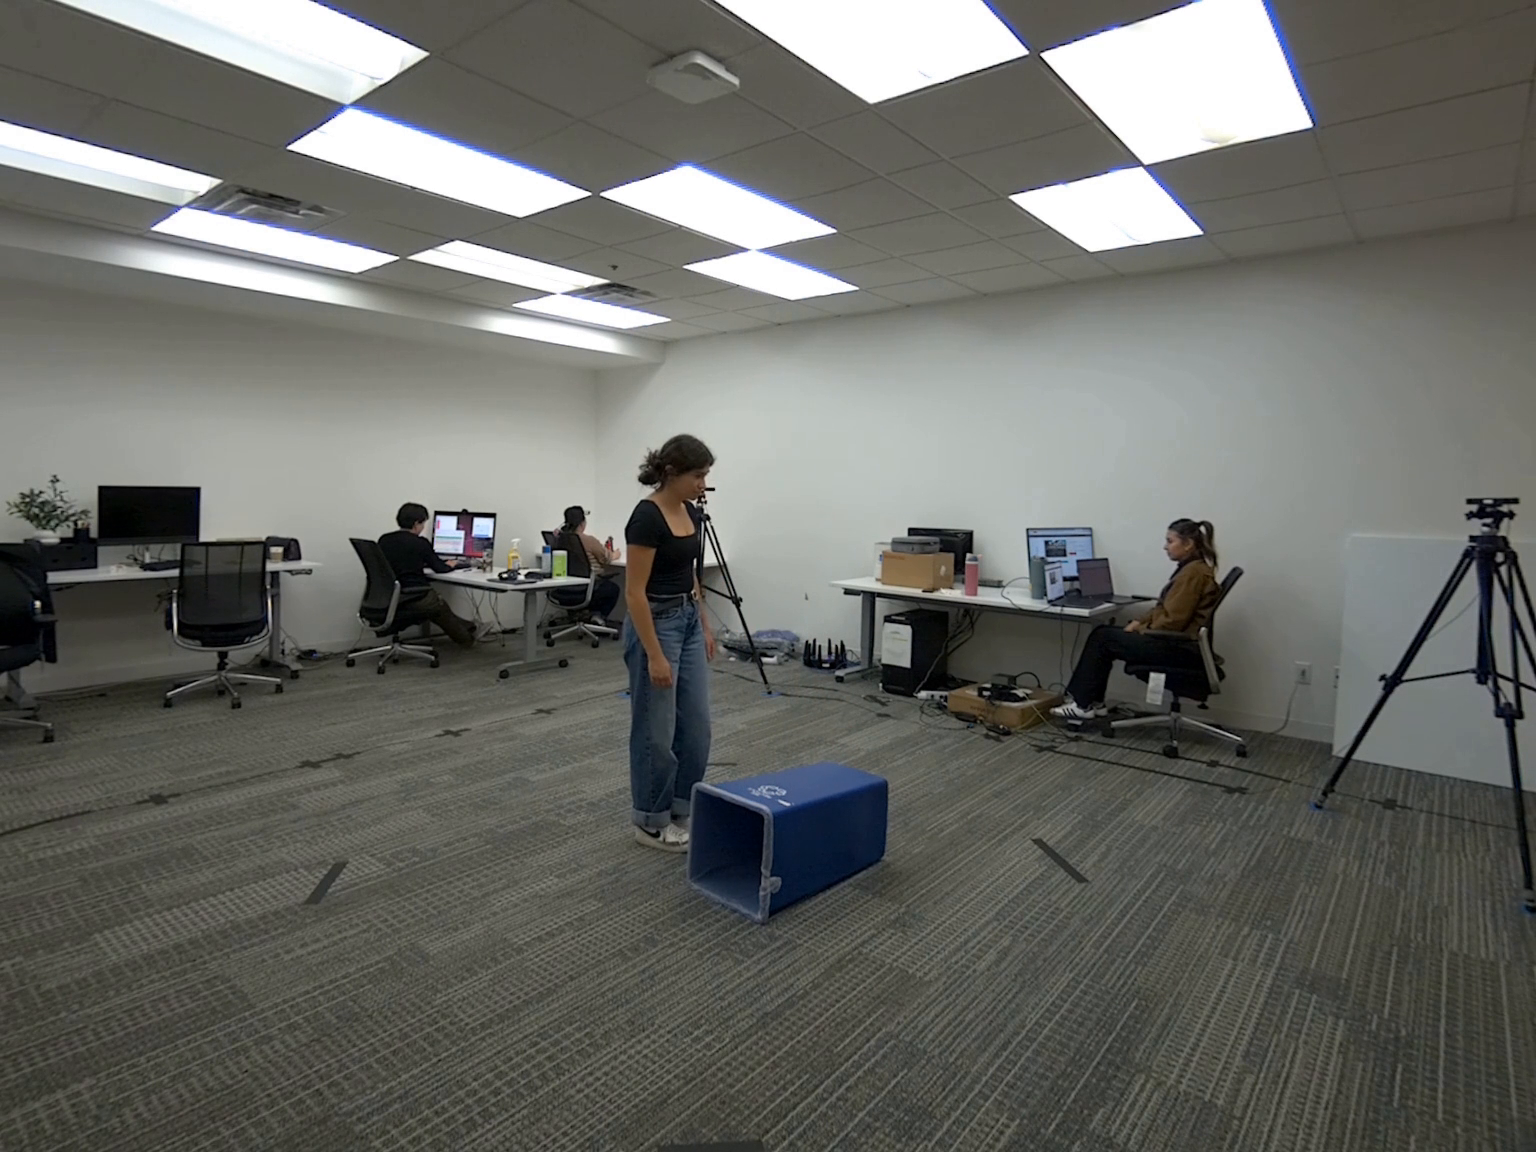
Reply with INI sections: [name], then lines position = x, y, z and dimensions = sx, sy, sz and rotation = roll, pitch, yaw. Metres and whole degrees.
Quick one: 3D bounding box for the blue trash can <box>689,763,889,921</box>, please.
[blue trash can]
position = 0.097, 0.913, 3.067
dimensions = 0.690, 0.374, 0.391
rotation = 1, 2, -45
